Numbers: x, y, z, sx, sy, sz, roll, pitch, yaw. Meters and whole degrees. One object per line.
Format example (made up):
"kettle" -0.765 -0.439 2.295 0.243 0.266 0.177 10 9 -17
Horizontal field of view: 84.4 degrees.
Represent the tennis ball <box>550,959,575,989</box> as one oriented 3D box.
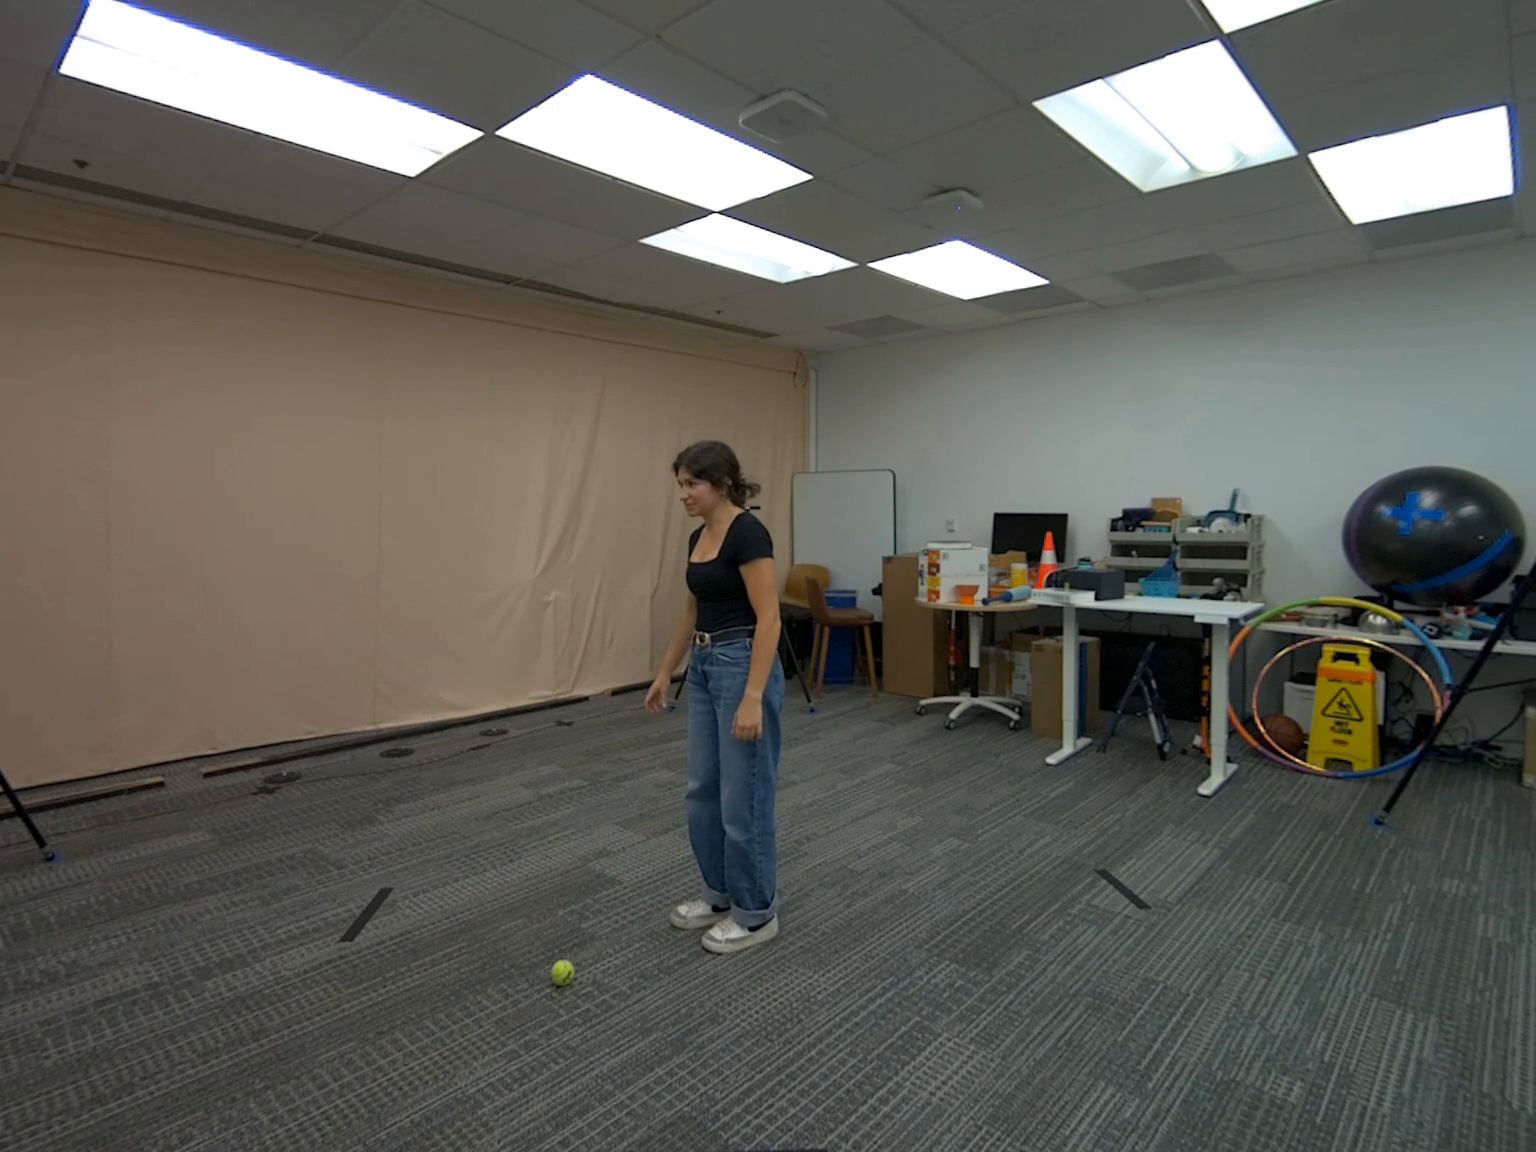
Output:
"tennis ball" -0.599 1.154 2.455 0.066 0.066 0.067 0 4 -2
